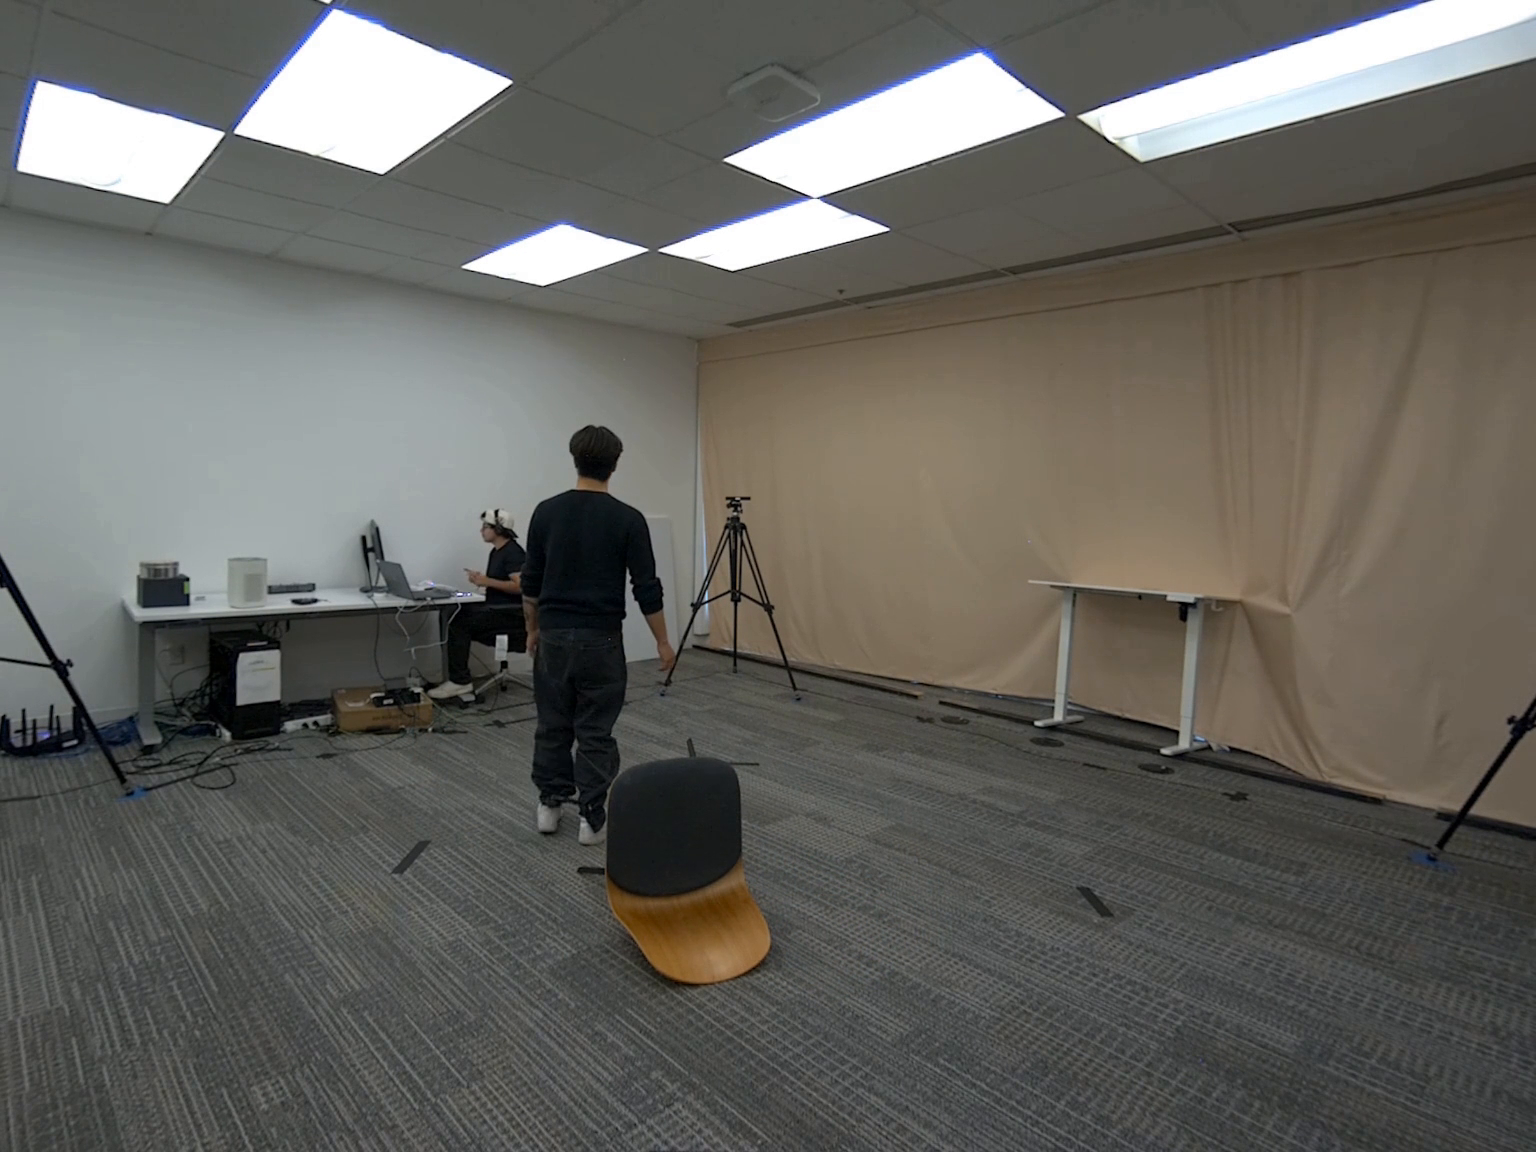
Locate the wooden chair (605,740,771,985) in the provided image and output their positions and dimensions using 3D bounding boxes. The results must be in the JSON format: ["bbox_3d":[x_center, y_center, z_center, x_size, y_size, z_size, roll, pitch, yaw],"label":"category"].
[{"bbox_3d":[-0.327,0.872,2.801,0.470,0.521,0.895,-1,6,-24],"label":"wooden chair"}]
